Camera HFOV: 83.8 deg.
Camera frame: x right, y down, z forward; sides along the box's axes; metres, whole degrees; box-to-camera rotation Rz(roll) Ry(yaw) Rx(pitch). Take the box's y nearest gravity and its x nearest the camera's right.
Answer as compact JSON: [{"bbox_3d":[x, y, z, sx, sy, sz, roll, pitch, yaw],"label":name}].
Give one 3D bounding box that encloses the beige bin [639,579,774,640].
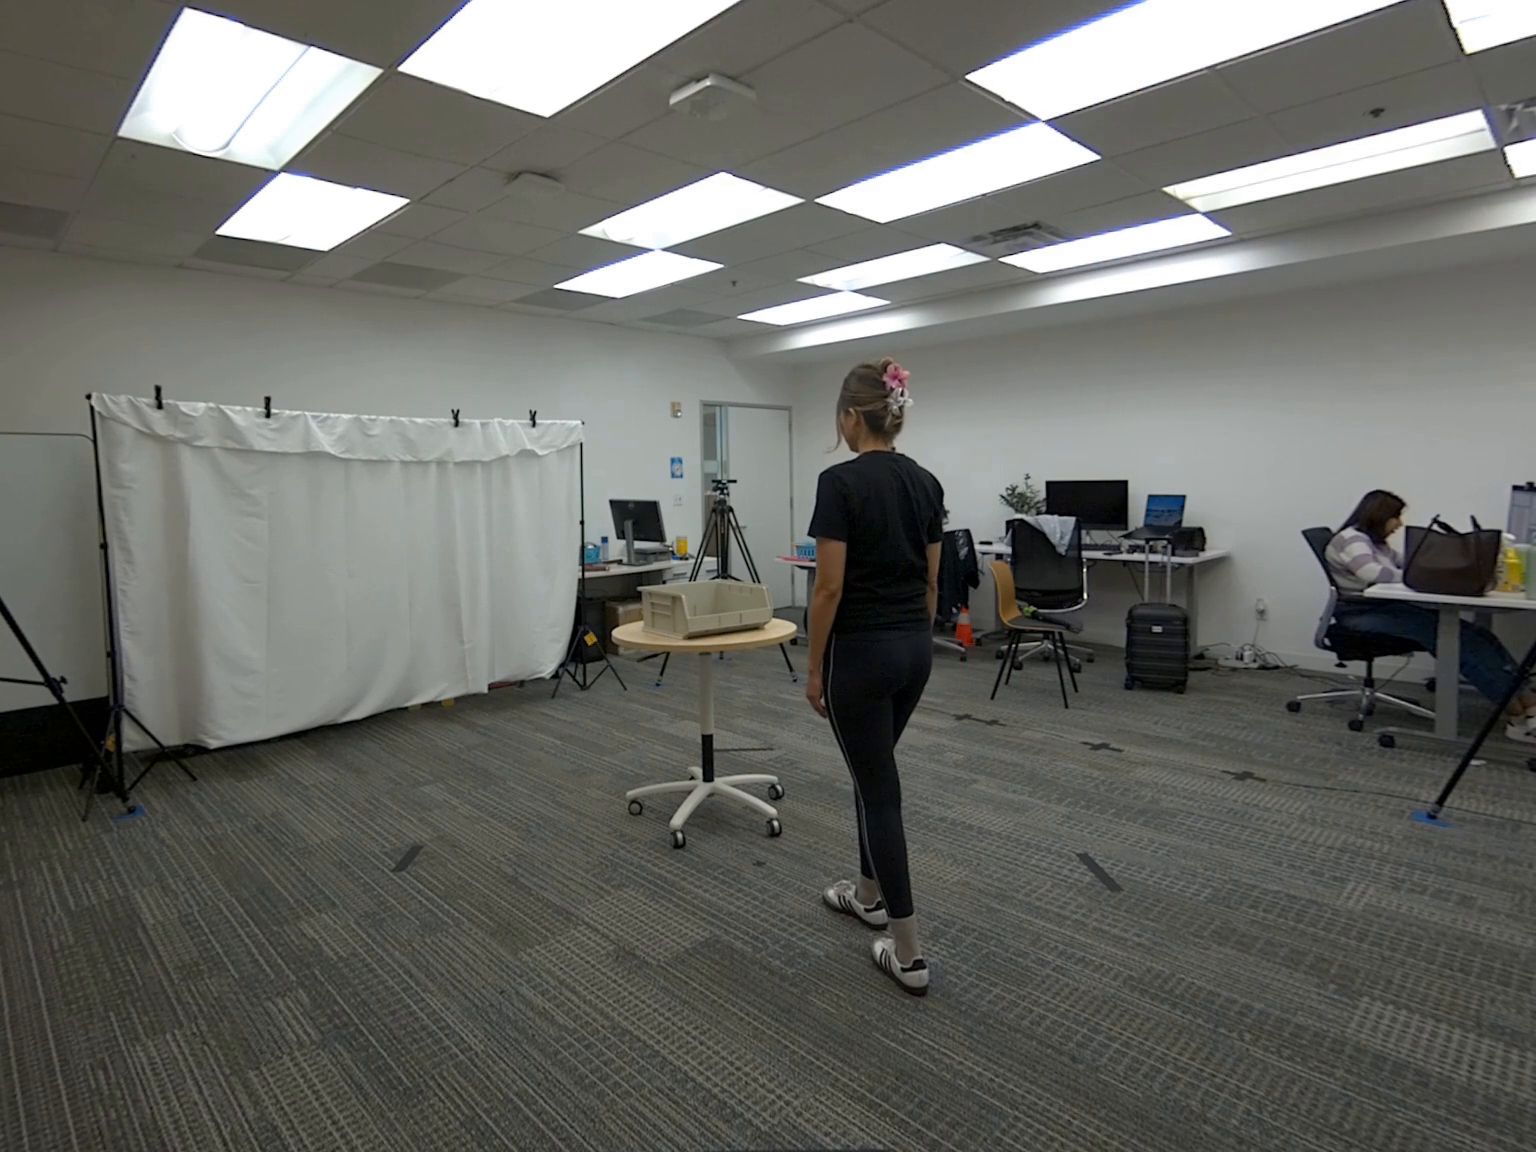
[{"bbox_3d":[-0.262,0.136,3.515,0.412,0.188,0.388,-6,6,-37],"label":"beige bin"}]
